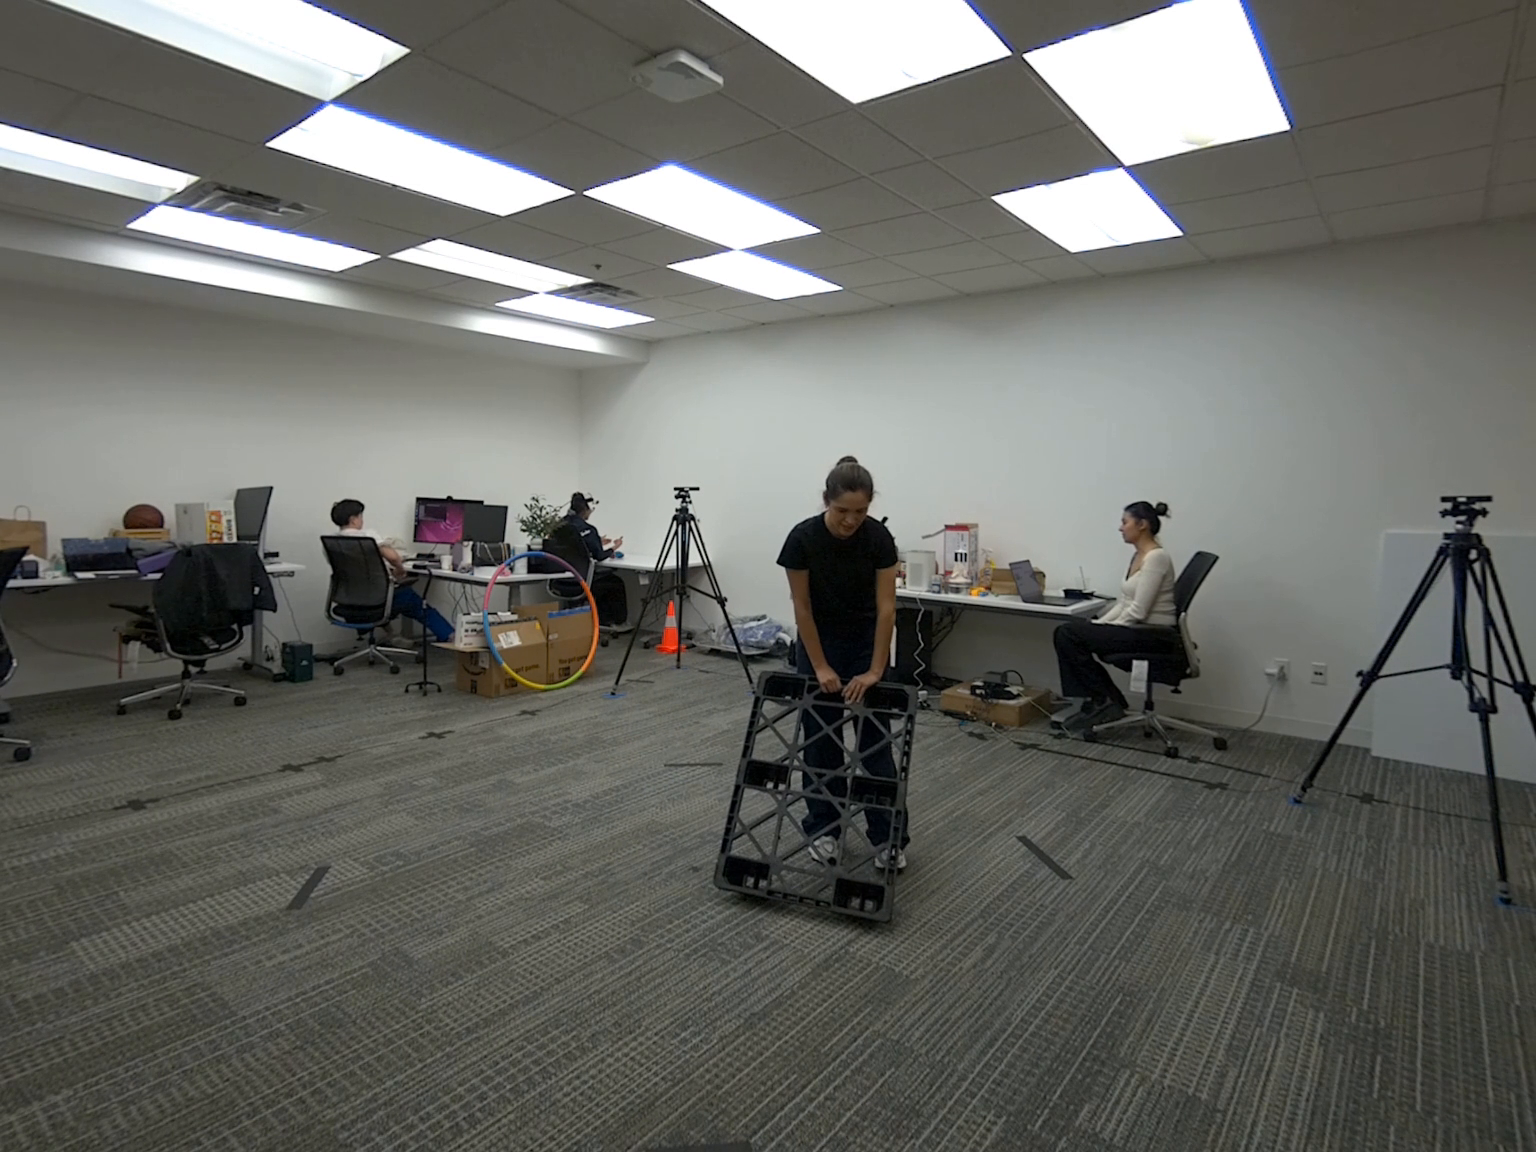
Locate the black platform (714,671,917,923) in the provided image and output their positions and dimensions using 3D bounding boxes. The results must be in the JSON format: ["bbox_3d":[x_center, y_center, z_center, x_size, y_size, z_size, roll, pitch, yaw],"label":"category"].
[{"bbox_3d":[0.203,0.750,3.015,0.619,0.819,0.138,2,-31,20],"label":"black platform"}]
